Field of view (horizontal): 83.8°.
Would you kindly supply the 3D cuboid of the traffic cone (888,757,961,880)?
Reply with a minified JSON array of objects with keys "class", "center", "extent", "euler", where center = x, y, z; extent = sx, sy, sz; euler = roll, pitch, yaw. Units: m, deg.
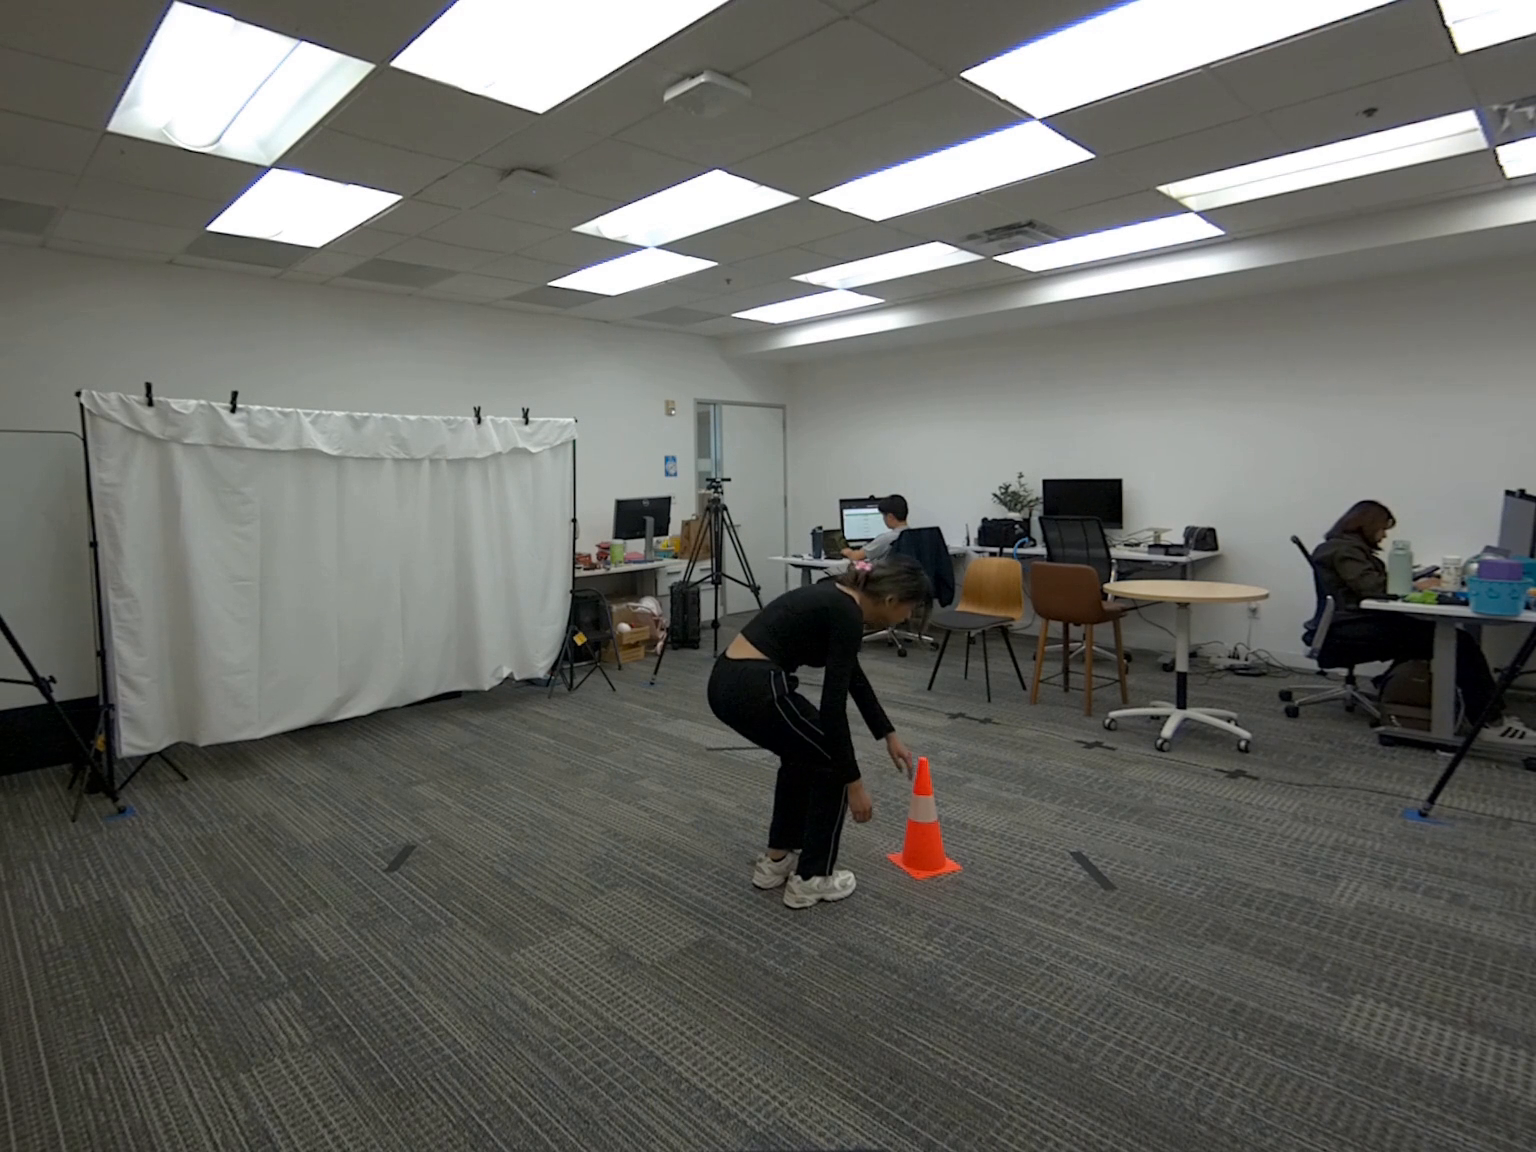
[{"class":"traffic cone","center":[0.562,0.848,3.075],"extent":[0.201,0.382,0.208],"euler":[-1,4,-21]}]
